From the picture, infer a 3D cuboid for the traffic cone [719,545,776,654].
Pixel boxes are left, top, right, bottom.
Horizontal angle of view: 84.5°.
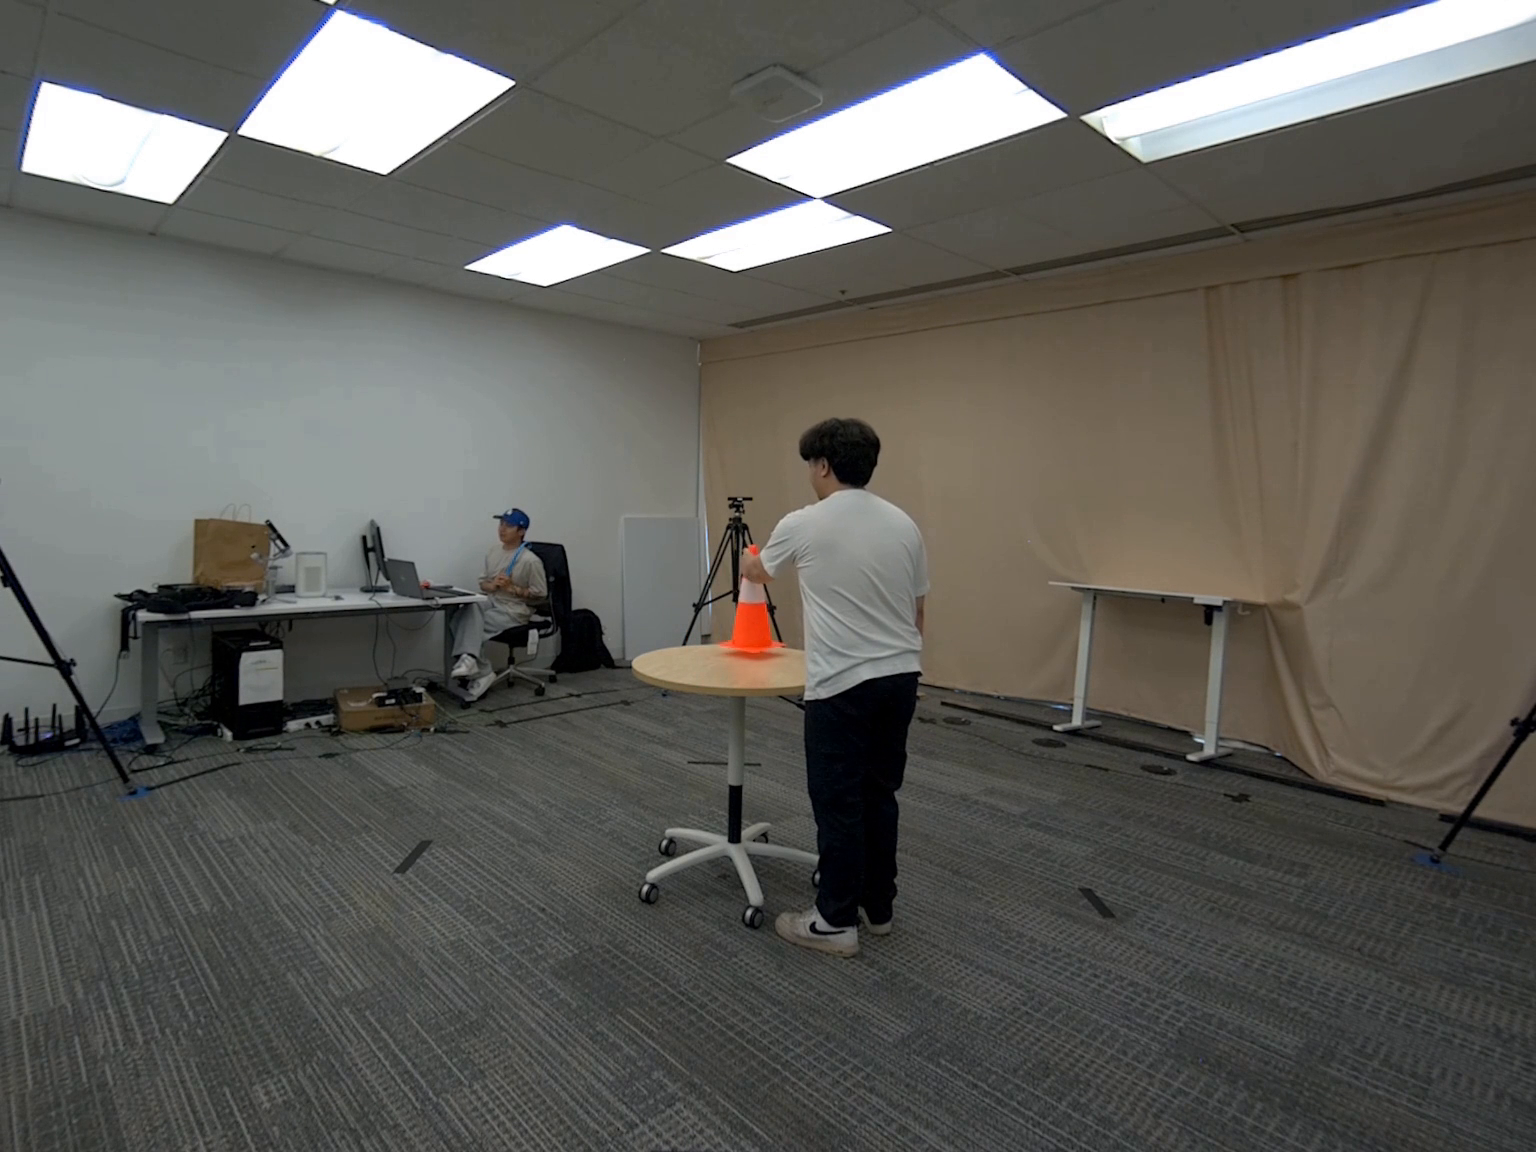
[{"bbox_3d":[-0.068,0.078,3.194,0.208,0.382,0.201,7,7,34],"label":"traffic cone"}]
